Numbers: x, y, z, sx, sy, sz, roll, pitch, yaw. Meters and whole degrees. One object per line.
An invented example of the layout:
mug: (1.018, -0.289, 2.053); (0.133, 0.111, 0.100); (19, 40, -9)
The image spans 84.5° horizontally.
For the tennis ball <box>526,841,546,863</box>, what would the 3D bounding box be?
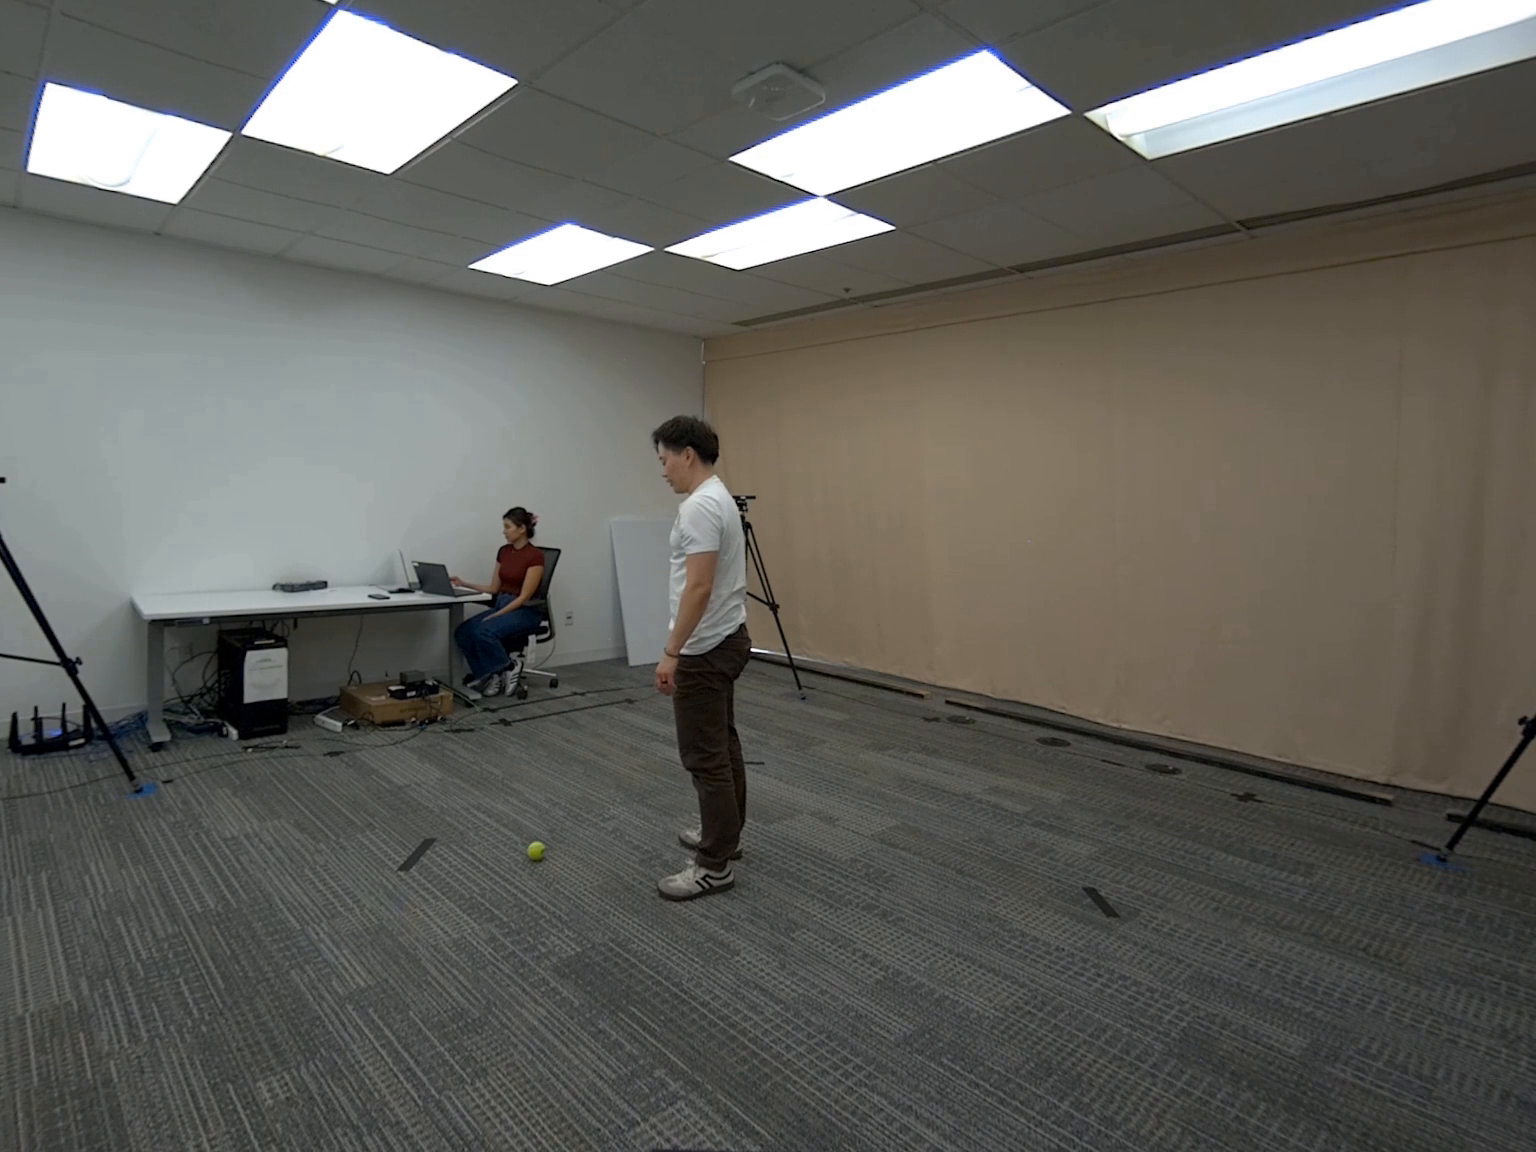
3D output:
tennis ball: (-0.888, 1.028, 3.192); (0.066, 0.066, 0.067); (1, 4, -1)
